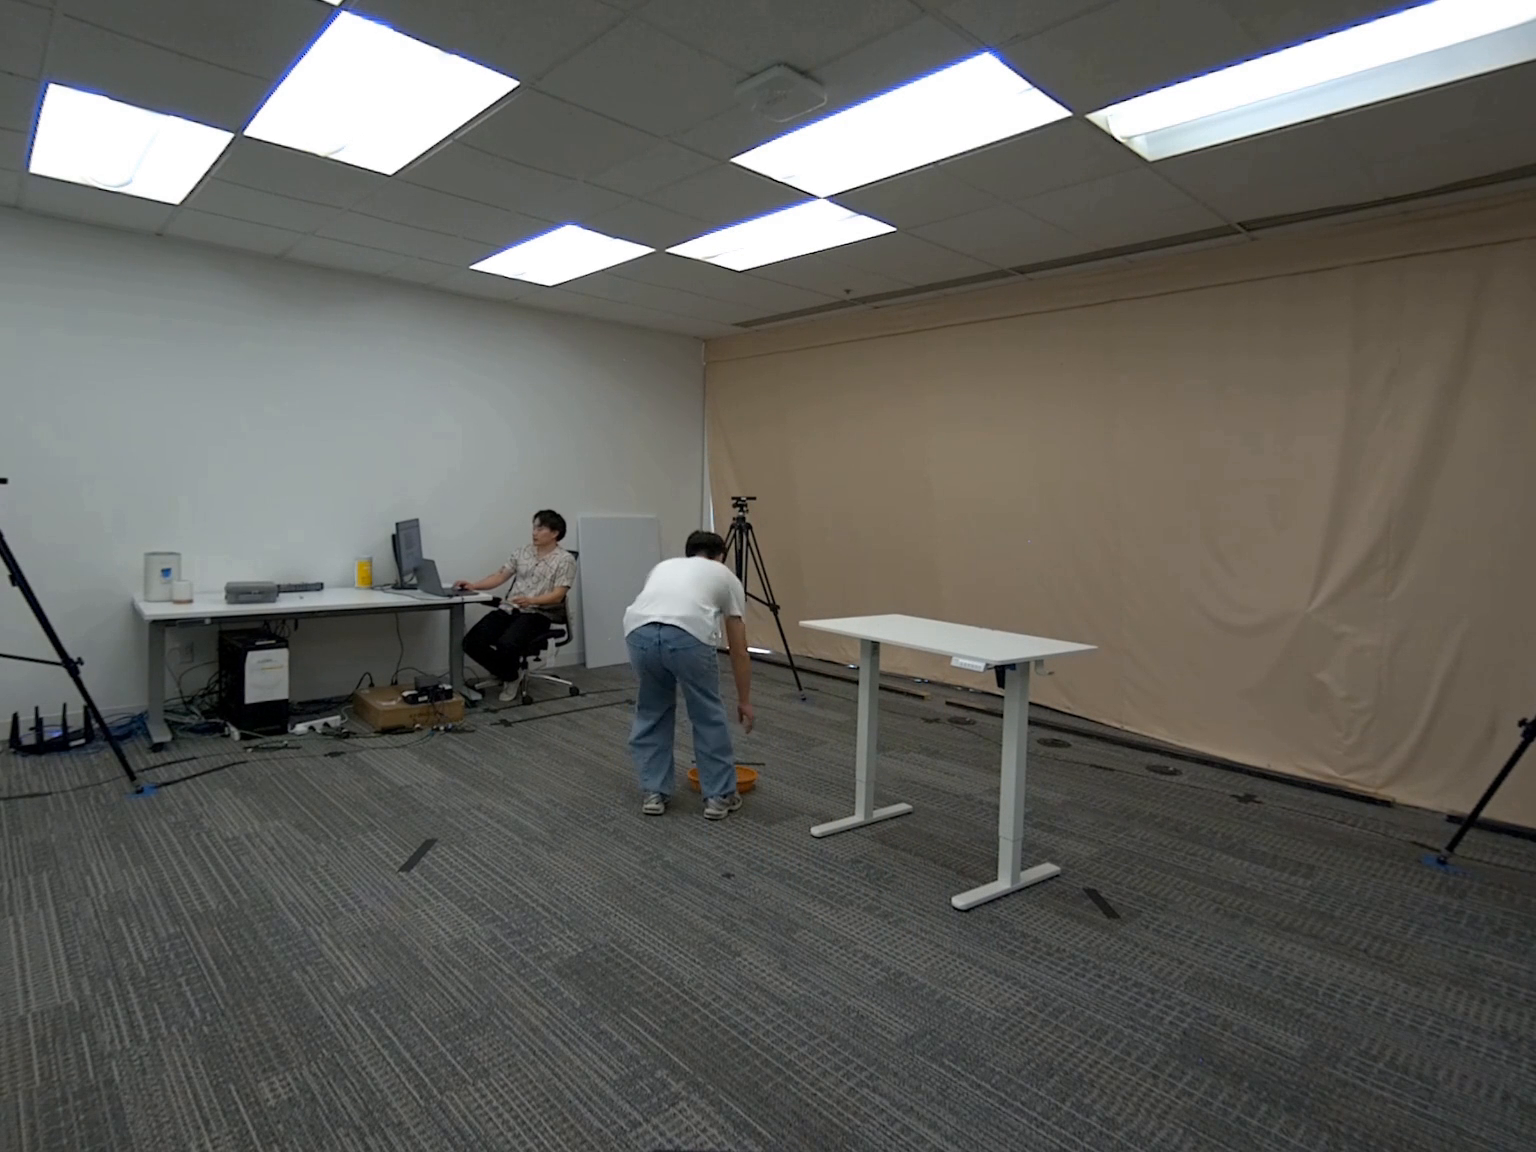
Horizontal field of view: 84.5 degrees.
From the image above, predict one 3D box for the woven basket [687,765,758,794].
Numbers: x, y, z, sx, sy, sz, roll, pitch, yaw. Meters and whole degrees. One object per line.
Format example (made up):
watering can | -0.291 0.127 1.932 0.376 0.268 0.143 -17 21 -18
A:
woven basket | -0.233 0.982 4.059 0.348 0.073 0.254 2 4 -8
